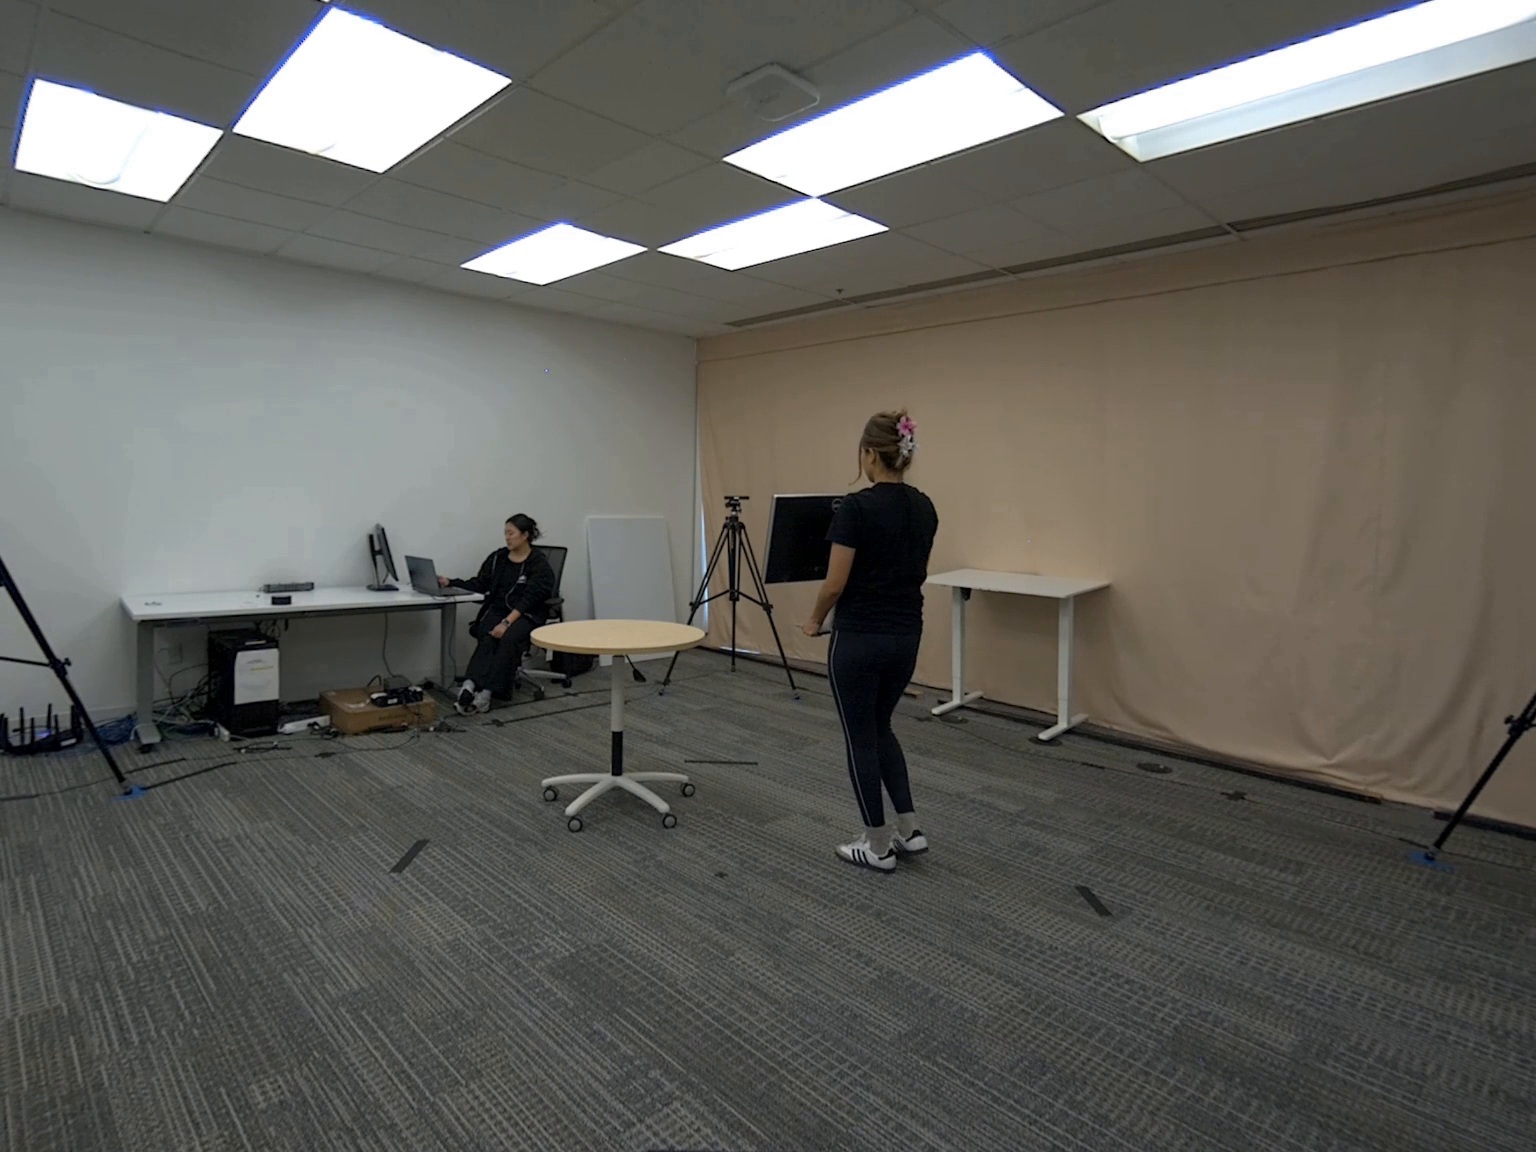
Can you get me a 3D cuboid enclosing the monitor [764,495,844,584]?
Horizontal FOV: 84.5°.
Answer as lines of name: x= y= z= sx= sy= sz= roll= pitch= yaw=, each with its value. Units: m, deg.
monitor: x=0.262 y=-0.061 z=3.362 sx=0.529 sy=0.520 sz=0.192 roll=-4 pitch=9 yaw=-30
